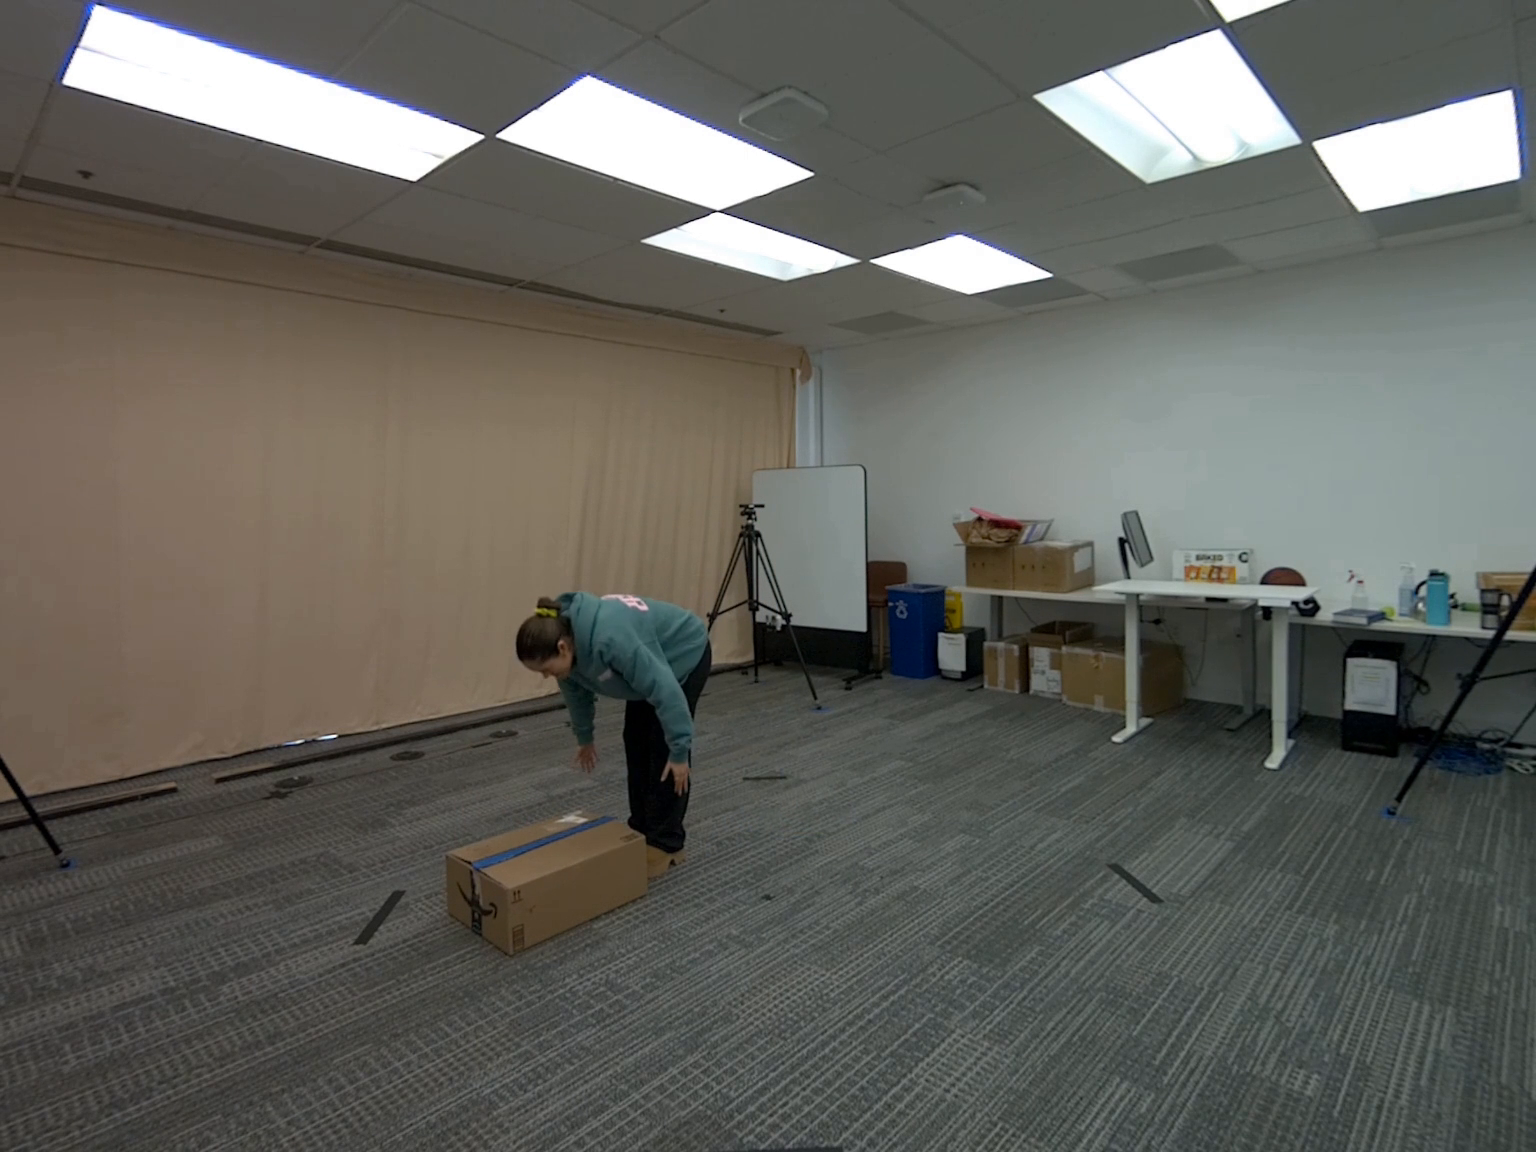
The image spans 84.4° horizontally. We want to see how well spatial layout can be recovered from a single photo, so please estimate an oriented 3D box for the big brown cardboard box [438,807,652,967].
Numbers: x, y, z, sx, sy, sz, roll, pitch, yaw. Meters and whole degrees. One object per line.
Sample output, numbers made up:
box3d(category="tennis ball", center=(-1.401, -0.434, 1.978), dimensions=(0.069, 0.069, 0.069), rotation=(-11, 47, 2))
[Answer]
box3d(category="big brown cardboard box", center=(-0.775, 1.054, 2.965), dimensions=(0.431, 0.232, 0.571), rotation=(2, 7, 43))
